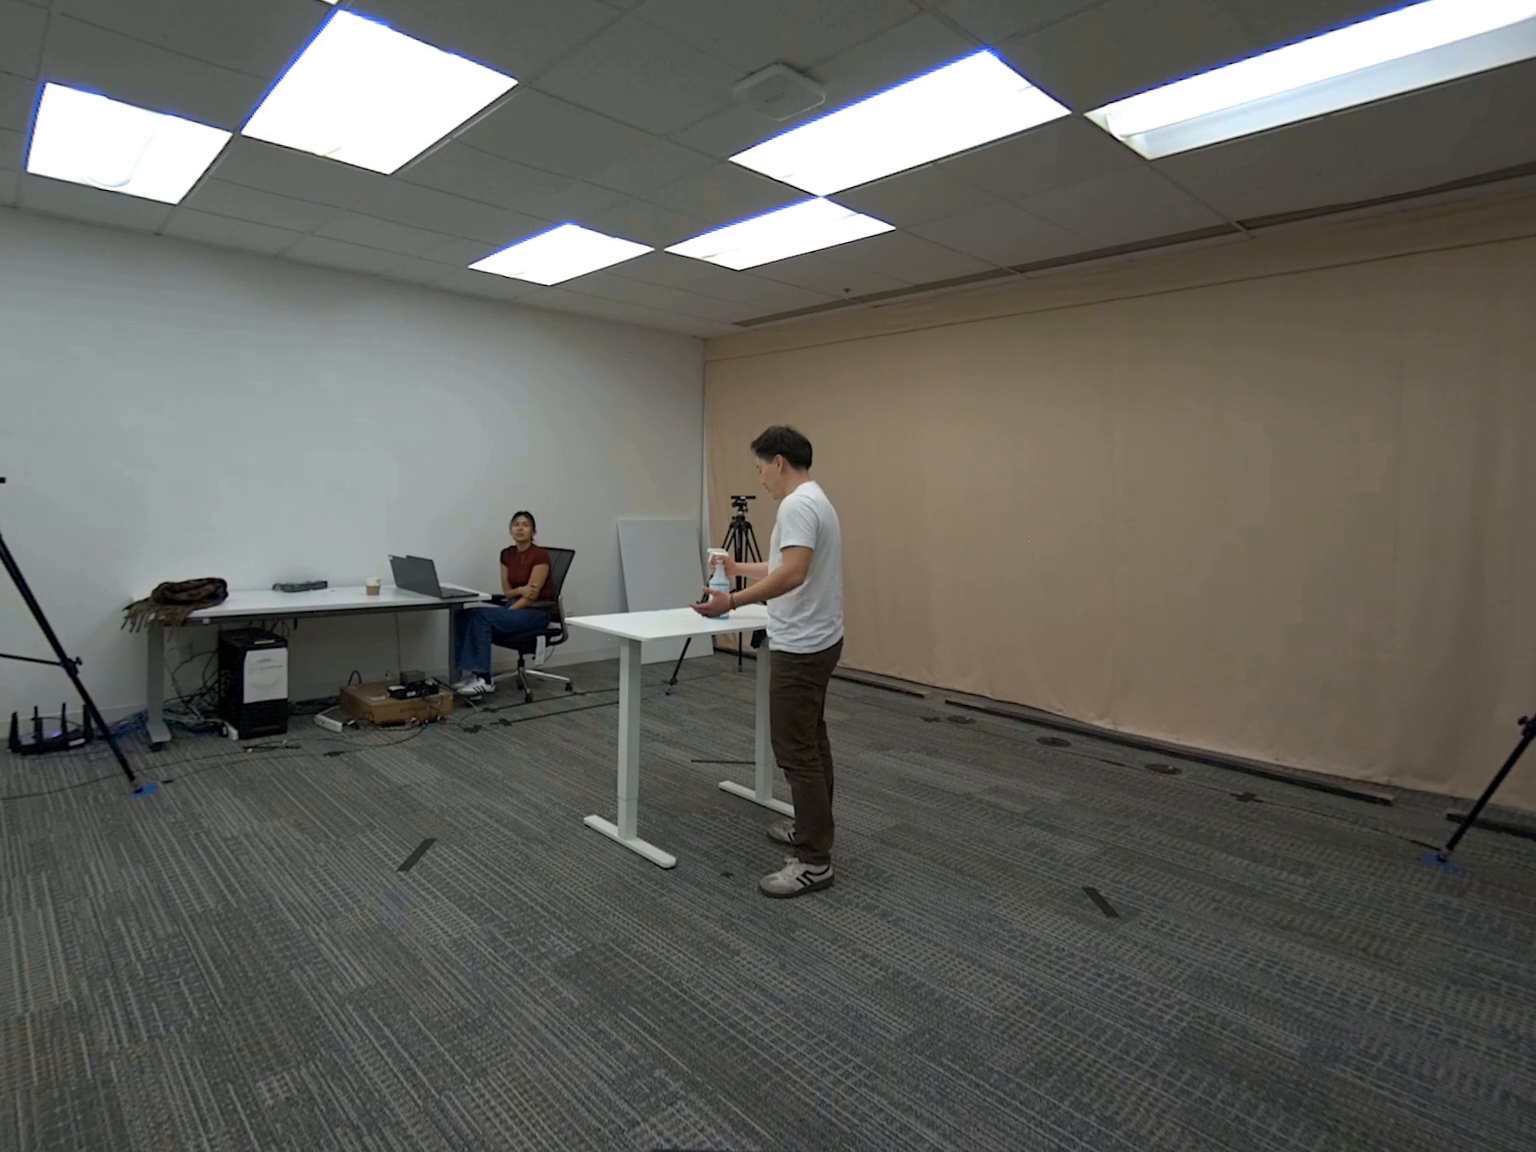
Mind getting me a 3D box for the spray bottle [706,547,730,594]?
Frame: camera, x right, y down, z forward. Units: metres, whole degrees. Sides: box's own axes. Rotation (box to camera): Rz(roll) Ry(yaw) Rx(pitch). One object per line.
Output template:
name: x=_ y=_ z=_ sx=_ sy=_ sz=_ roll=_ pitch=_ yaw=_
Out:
spray bottle: x=-0.214 y=0.035 z=3.546 sx=0.091 sy=0.296 sz=0.087 roll=1 pitch=4 yaw=8
